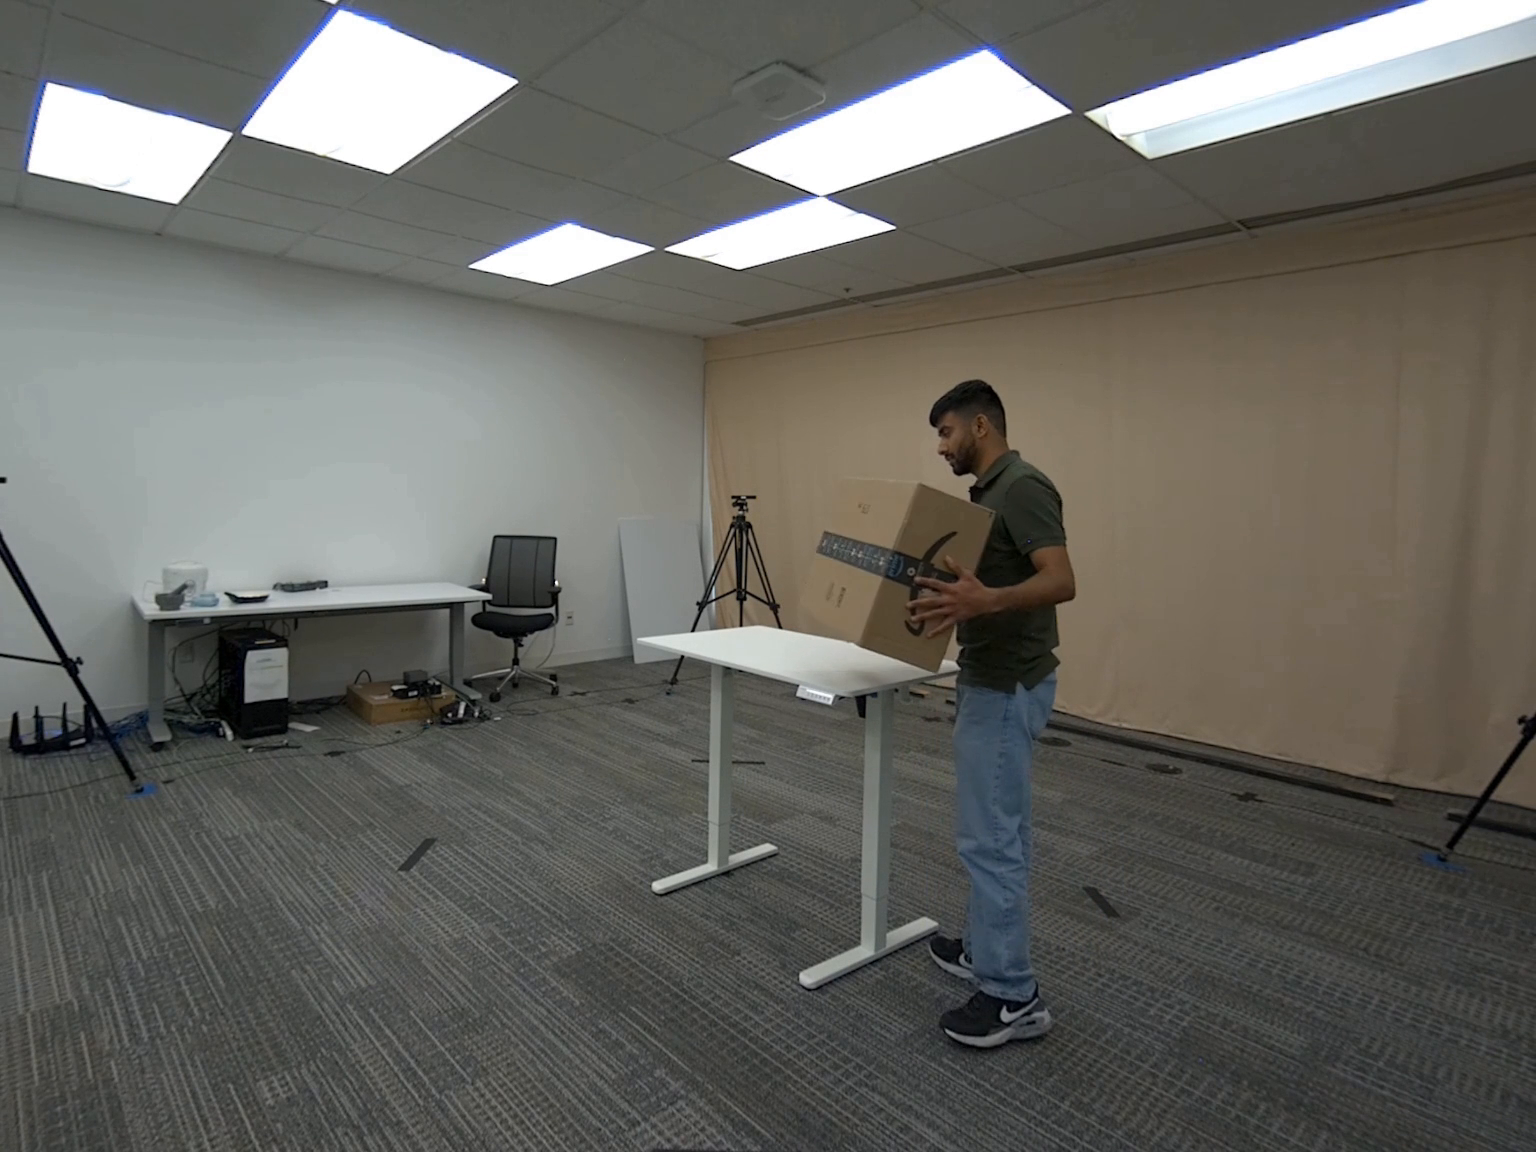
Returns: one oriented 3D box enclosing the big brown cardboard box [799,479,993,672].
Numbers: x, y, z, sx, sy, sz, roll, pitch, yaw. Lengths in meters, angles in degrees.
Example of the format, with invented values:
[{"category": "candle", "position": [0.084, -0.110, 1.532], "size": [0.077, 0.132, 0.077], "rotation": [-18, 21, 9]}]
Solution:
[{"category": "big brown cardboard box", "position": [0.321, -0.027, 2.272], "size": [0.230, 0.417, 0.597], "rotation": [20, 3, -13]}]
